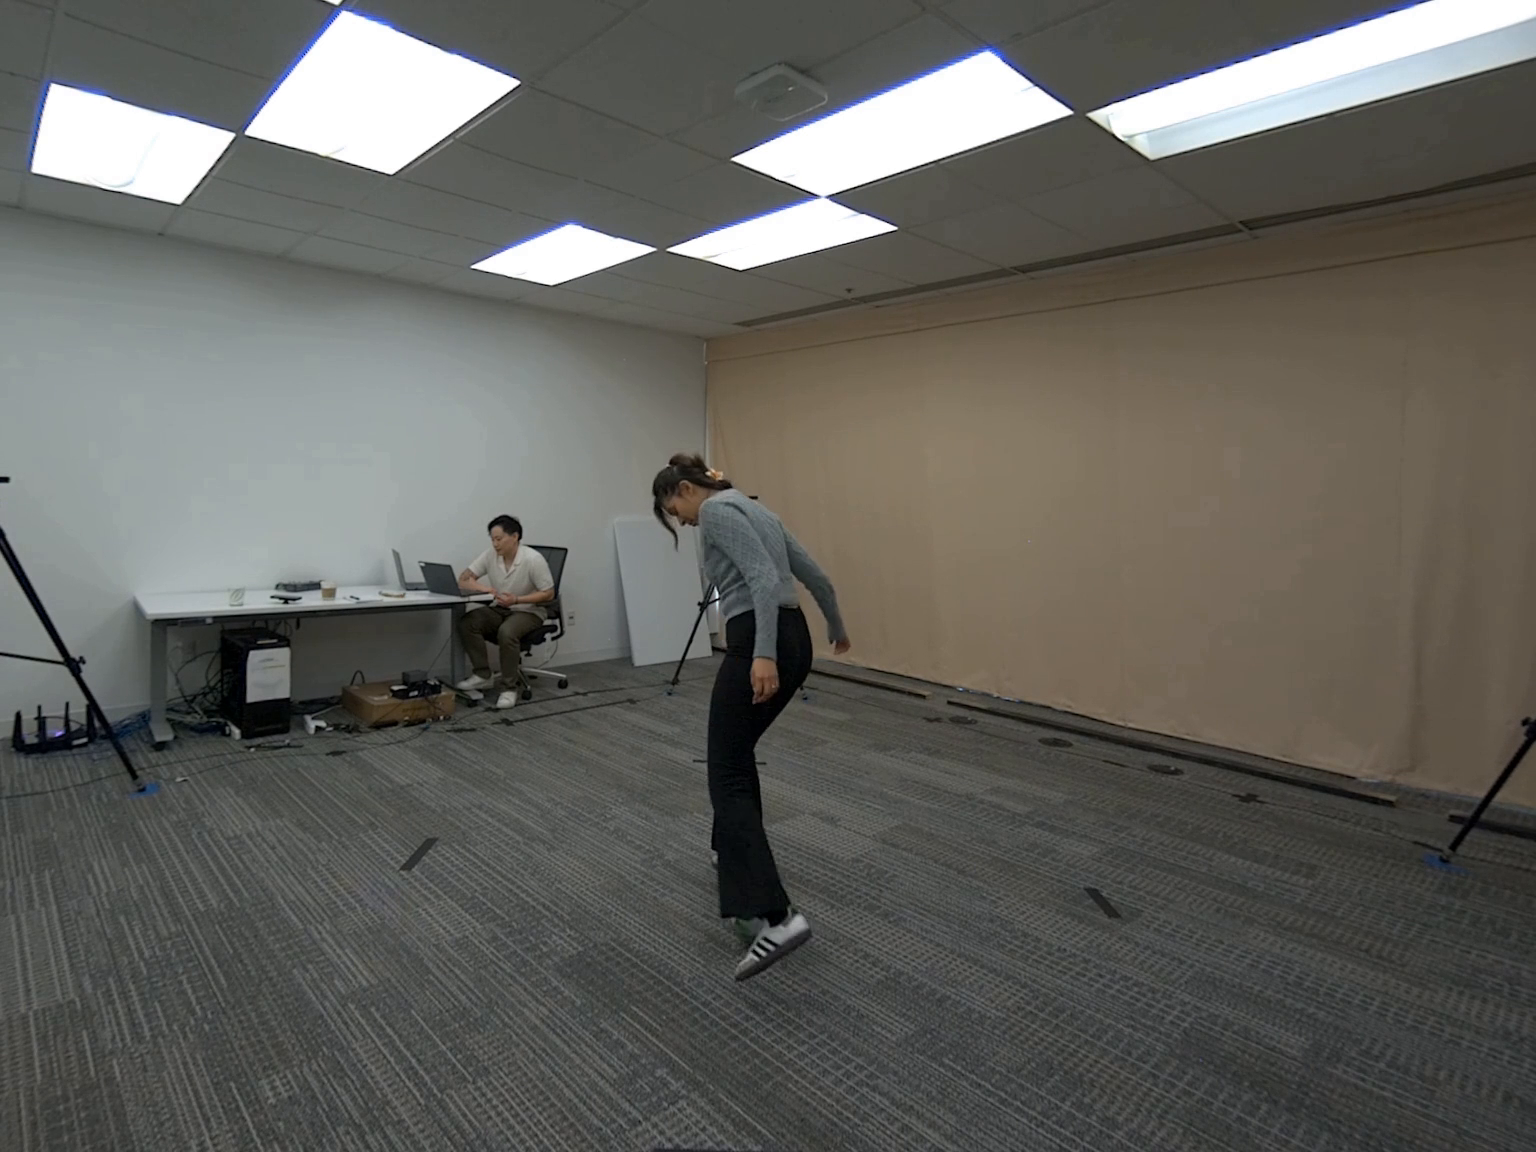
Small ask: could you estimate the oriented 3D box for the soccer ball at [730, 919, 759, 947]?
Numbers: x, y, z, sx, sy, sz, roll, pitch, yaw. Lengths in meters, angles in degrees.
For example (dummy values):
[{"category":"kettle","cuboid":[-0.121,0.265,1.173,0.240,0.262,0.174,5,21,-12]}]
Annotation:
[{"category":"soccer ball","cuboid":[-0.044,1.053,2.652,0.187,0.187,0.188,1,4,-1]}]
